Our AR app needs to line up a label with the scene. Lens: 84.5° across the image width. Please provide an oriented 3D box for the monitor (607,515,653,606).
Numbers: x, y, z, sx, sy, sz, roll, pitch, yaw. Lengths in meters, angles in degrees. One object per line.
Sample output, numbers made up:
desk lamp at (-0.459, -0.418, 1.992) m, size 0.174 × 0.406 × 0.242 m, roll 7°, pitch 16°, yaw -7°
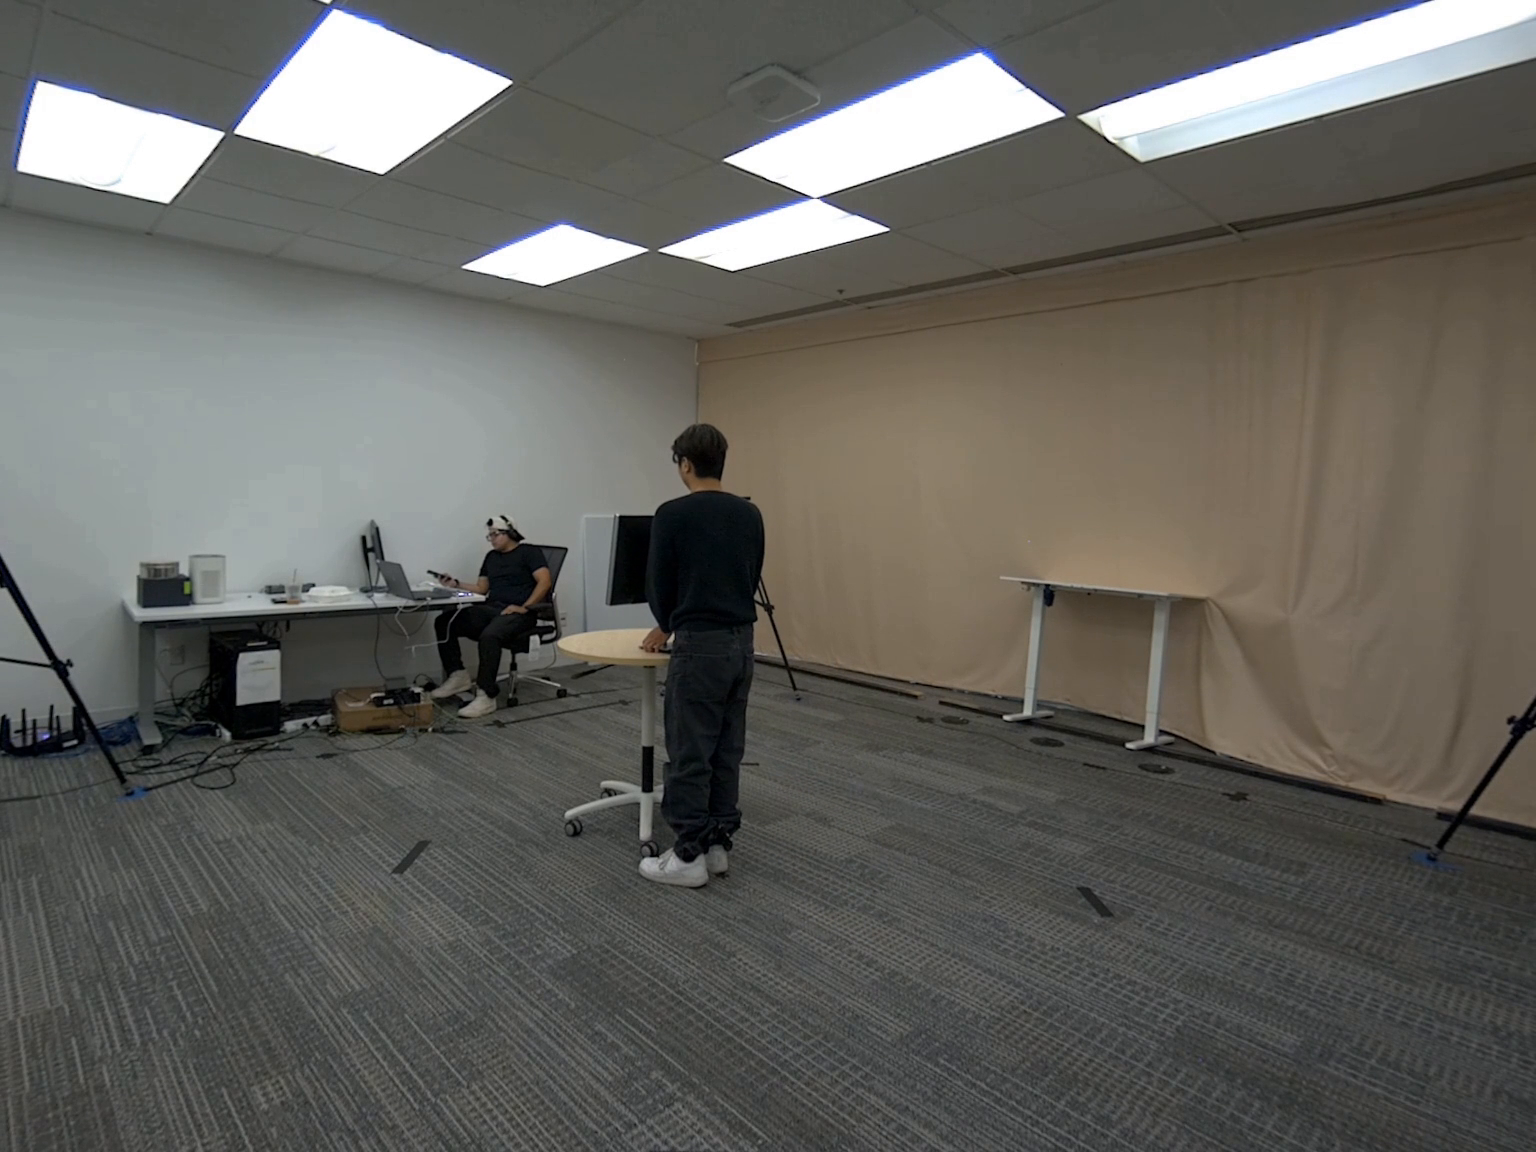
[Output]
monitor at (-0.375, 0.024, 3.404) m, size 0.191 × 0.522 × 0.527 m, roll 0°, pitch 3°, yaw 42°
